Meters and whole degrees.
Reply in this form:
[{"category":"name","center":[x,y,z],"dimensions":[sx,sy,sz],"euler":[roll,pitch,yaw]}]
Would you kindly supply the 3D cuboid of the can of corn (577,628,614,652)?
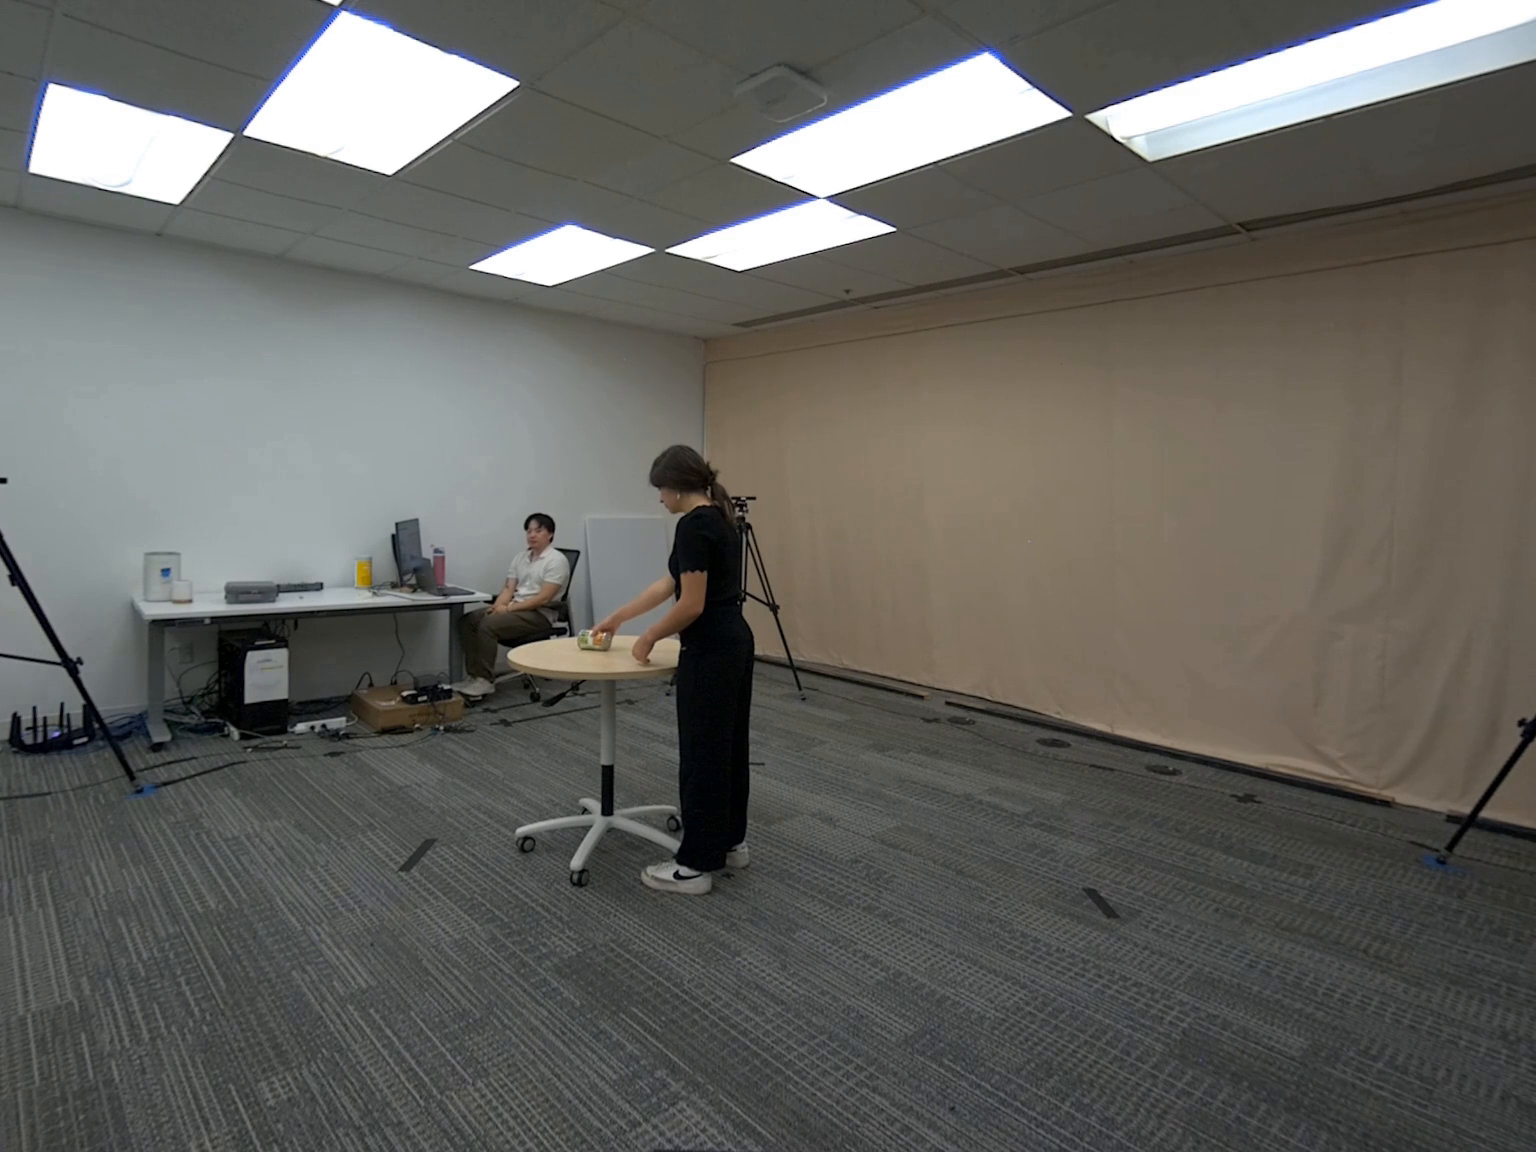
[{"category":"can of corn","center":[-0.694,0.249,3.313],"dimensions":[0.112,0.074,0.074],"euler":[3,4,8]}]
